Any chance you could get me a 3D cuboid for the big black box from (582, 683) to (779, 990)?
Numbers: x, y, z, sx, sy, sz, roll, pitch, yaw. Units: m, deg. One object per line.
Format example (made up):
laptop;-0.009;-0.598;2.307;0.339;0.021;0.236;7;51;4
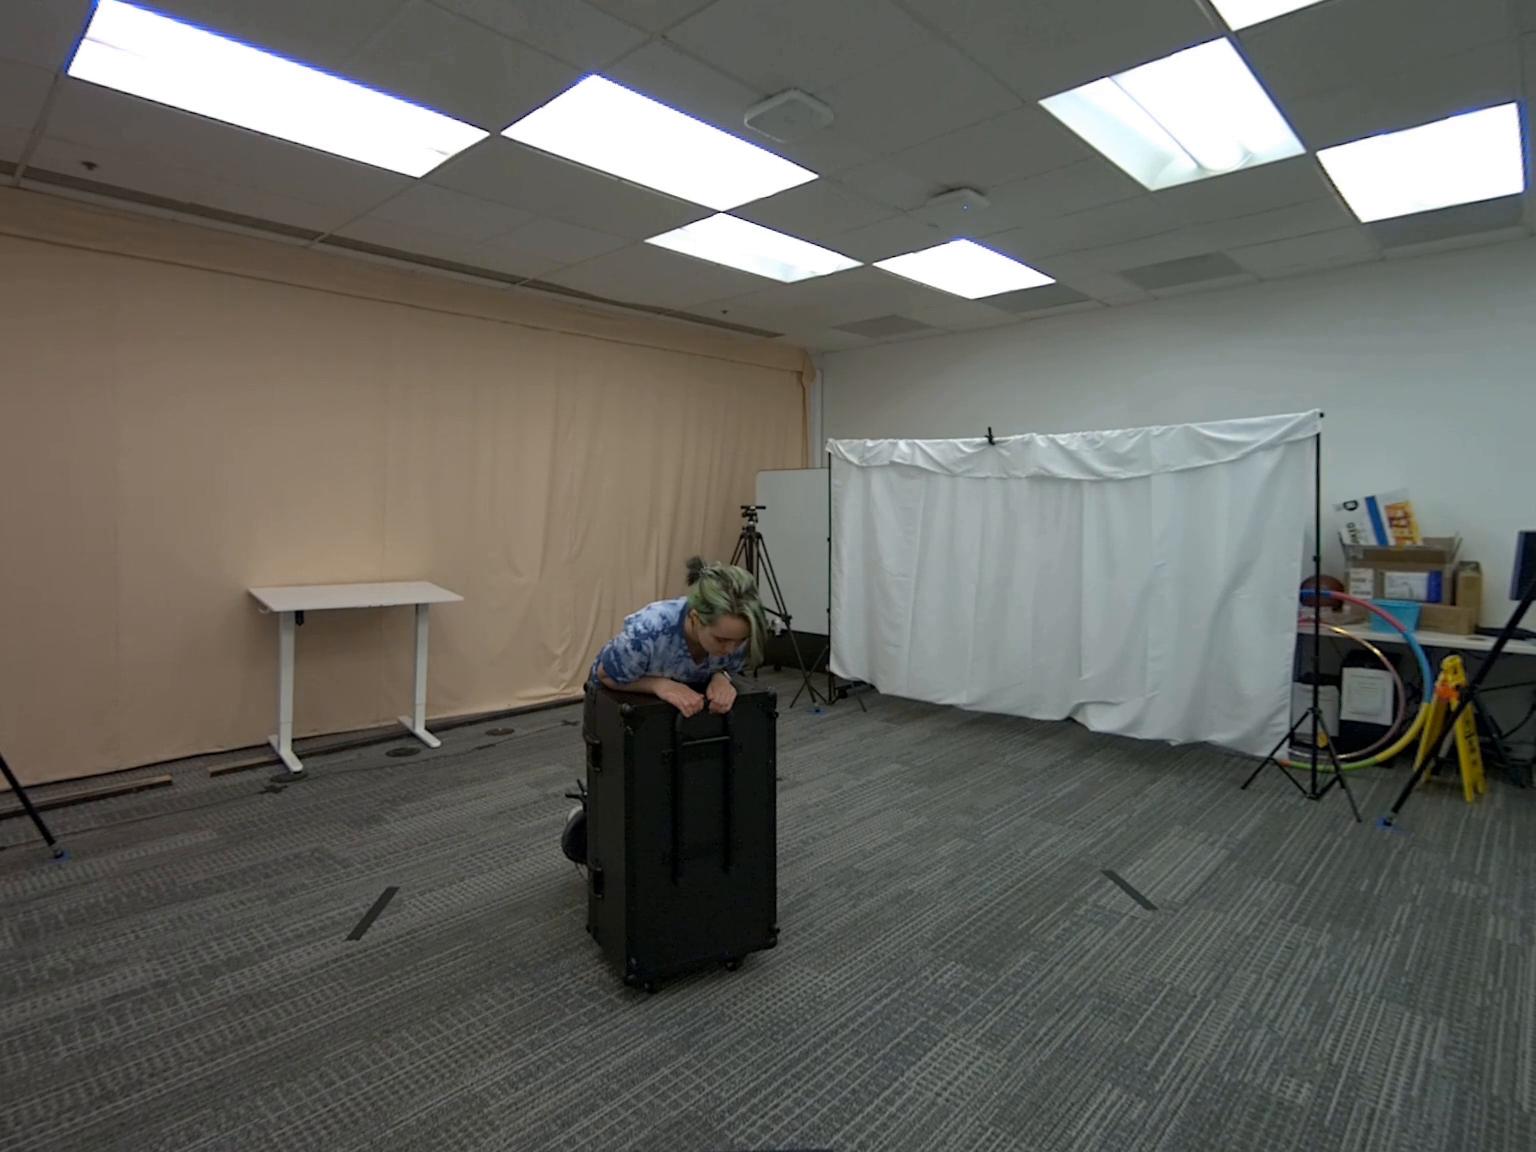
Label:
big black box;-0.259;0.709;2.540;0.508;0.859;0.407;-2;4;-28
